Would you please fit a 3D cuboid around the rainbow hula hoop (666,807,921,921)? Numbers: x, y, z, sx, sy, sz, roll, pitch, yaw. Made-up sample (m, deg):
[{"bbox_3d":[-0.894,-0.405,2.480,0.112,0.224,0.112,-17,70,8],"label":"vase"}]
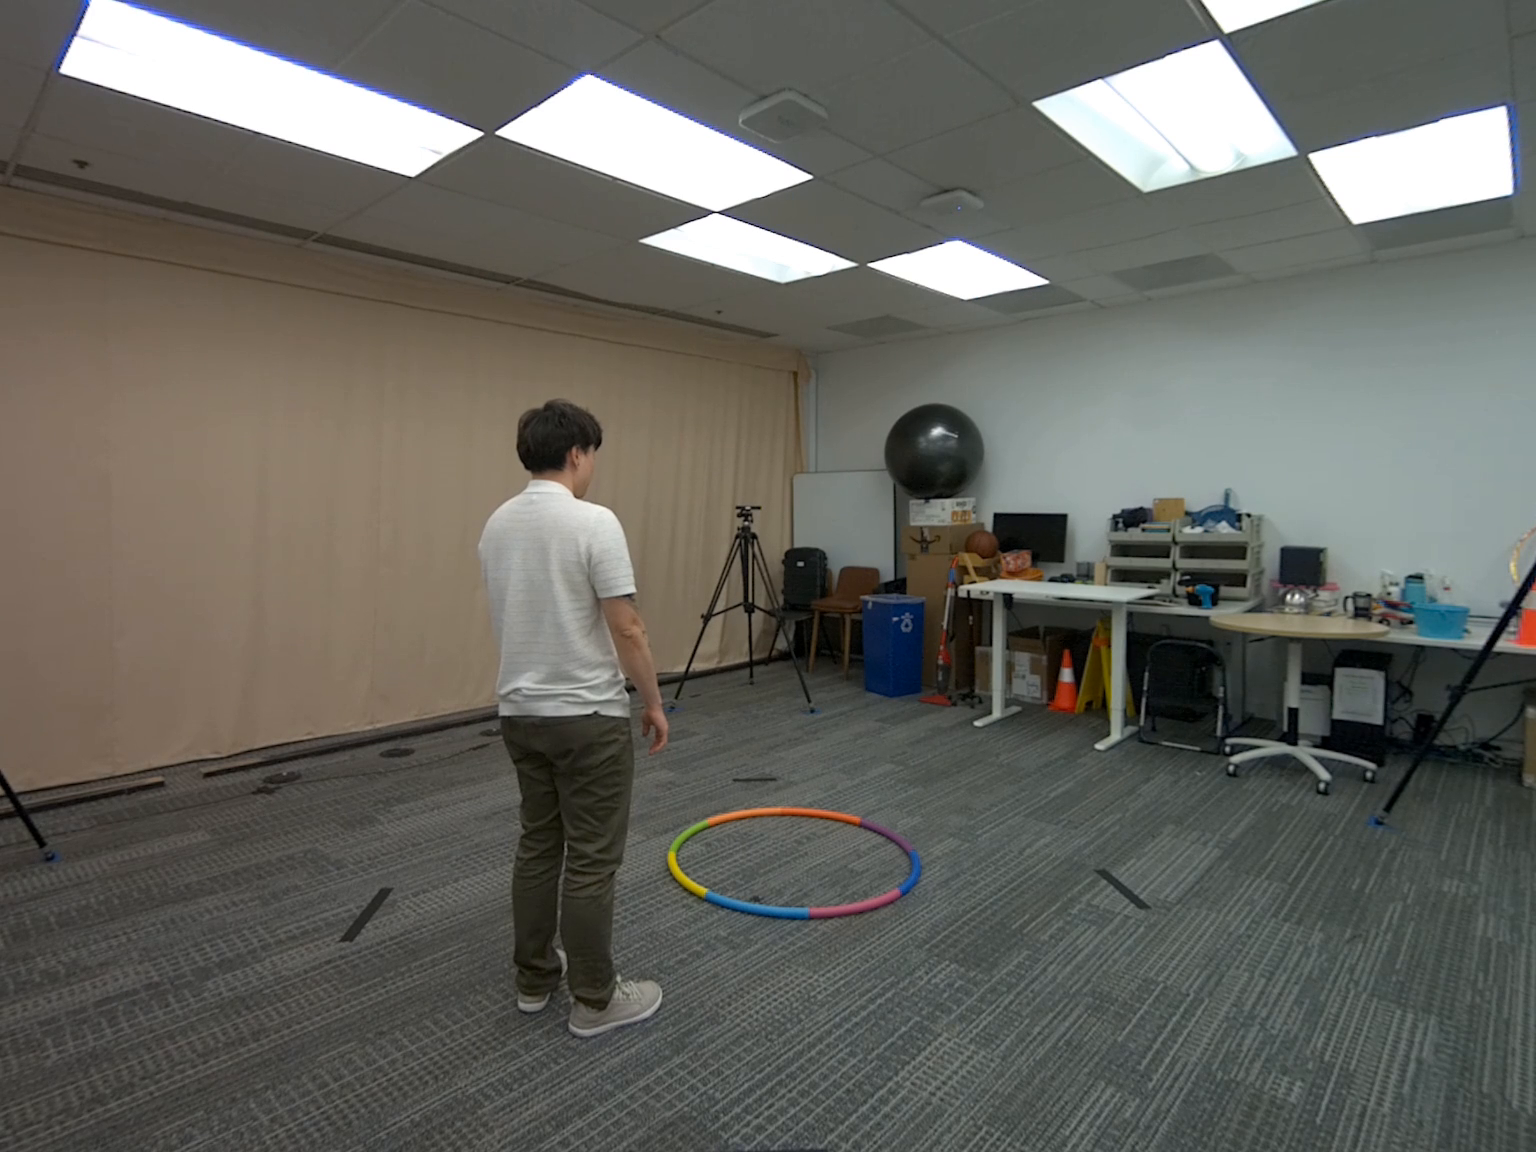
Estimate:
[{"bbox_3d":[0.099,1.086,3.312,0.978,0.035,0.982,0,5,-2],"label":"rainbow hula hoop"}]
